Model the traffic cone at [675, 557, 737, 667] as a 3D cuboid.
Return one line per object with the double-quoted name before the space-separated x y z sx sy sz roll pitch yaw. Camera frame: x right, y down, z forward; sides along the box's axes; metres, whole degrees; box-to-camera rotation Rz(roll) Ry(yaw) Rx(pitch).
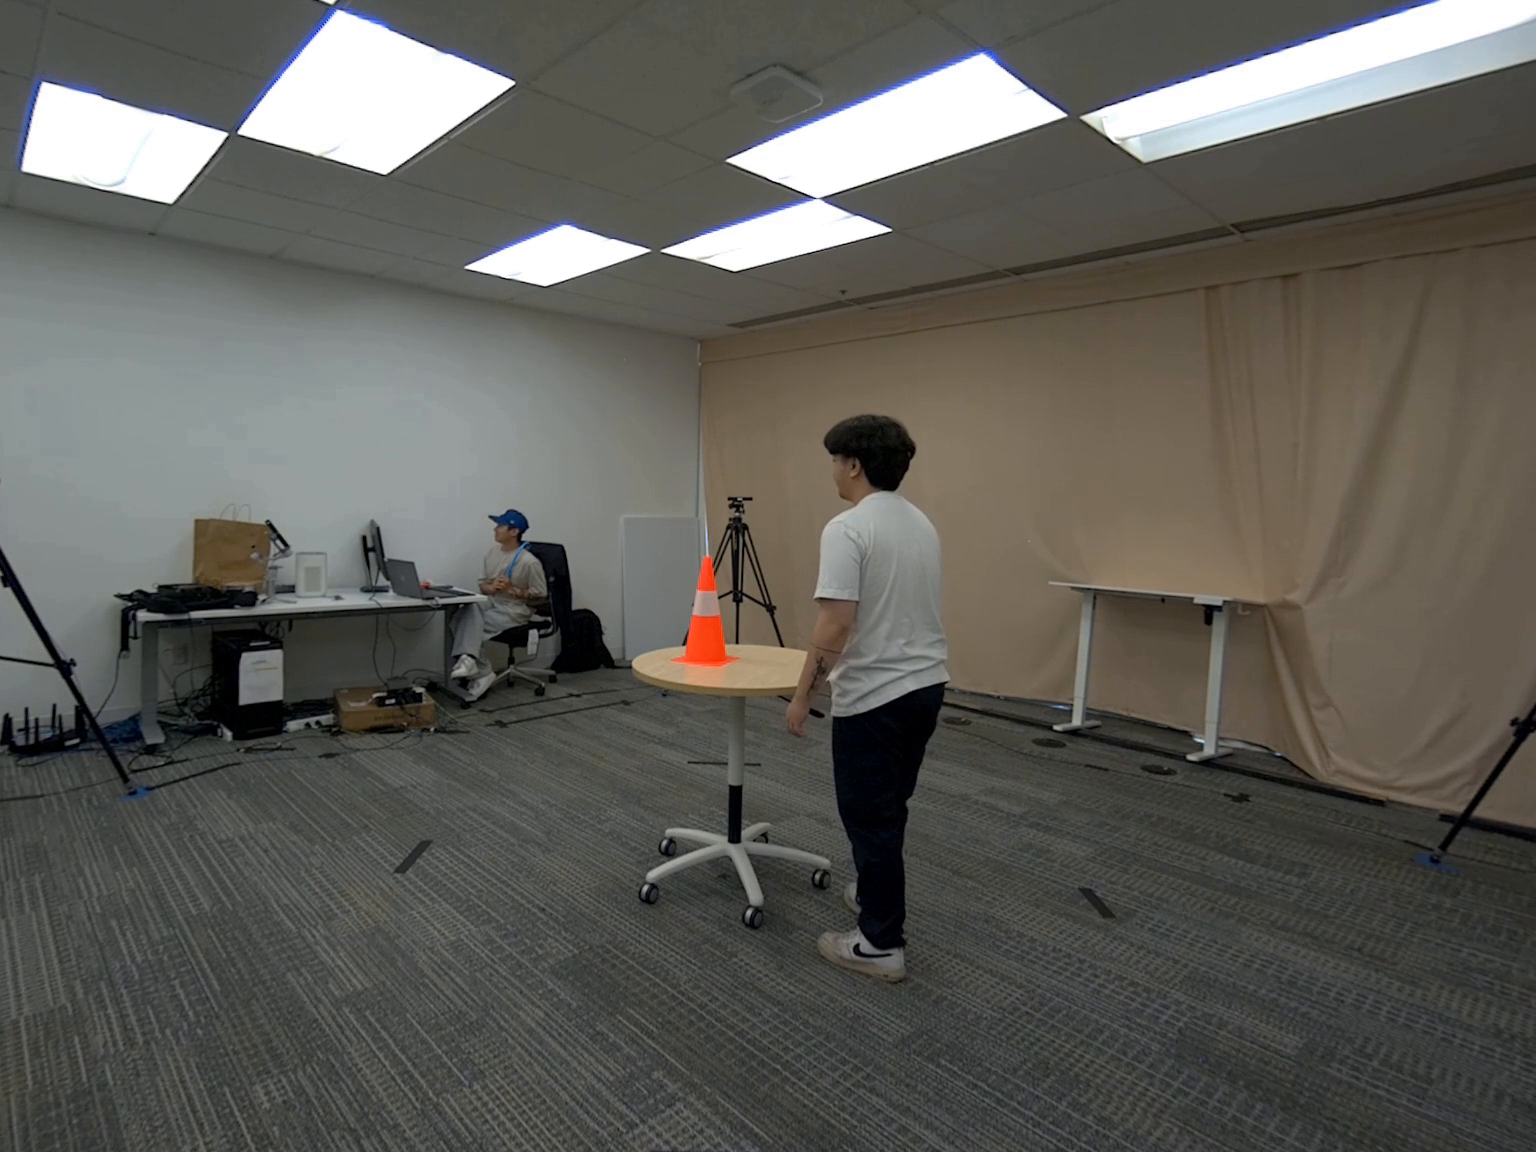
"traffic cone" -0.230 0.124 3.086 0.207 0.383 0.201 4 3 25
